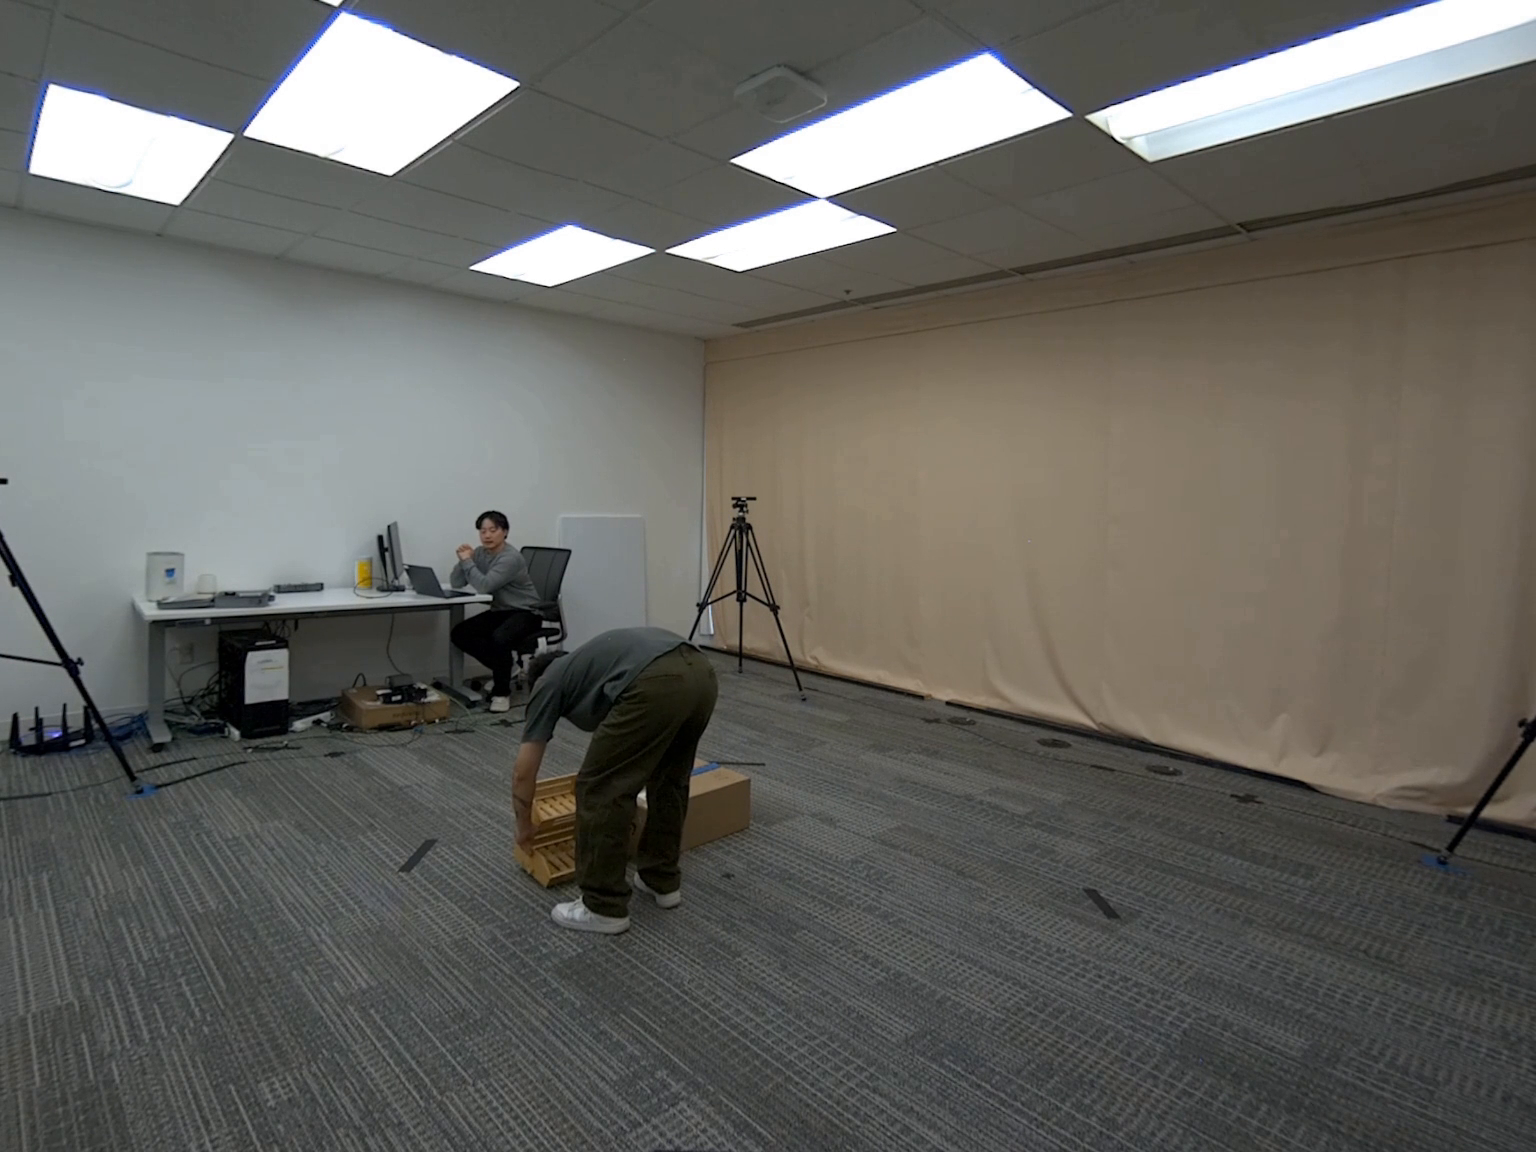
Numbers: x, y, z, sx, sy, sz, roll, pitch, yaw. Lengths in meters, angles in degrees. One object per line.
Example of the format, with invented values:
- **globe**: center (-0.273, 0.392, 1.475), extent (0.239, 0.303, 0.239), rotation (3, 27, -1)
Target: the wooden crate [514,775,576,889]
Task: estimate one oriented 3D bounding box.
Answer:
- **wooden crate**: center (-0.762, 0.935, 3.132), extent (0.317, 0.272, 0.311), rotation (-2, 12, -45)
